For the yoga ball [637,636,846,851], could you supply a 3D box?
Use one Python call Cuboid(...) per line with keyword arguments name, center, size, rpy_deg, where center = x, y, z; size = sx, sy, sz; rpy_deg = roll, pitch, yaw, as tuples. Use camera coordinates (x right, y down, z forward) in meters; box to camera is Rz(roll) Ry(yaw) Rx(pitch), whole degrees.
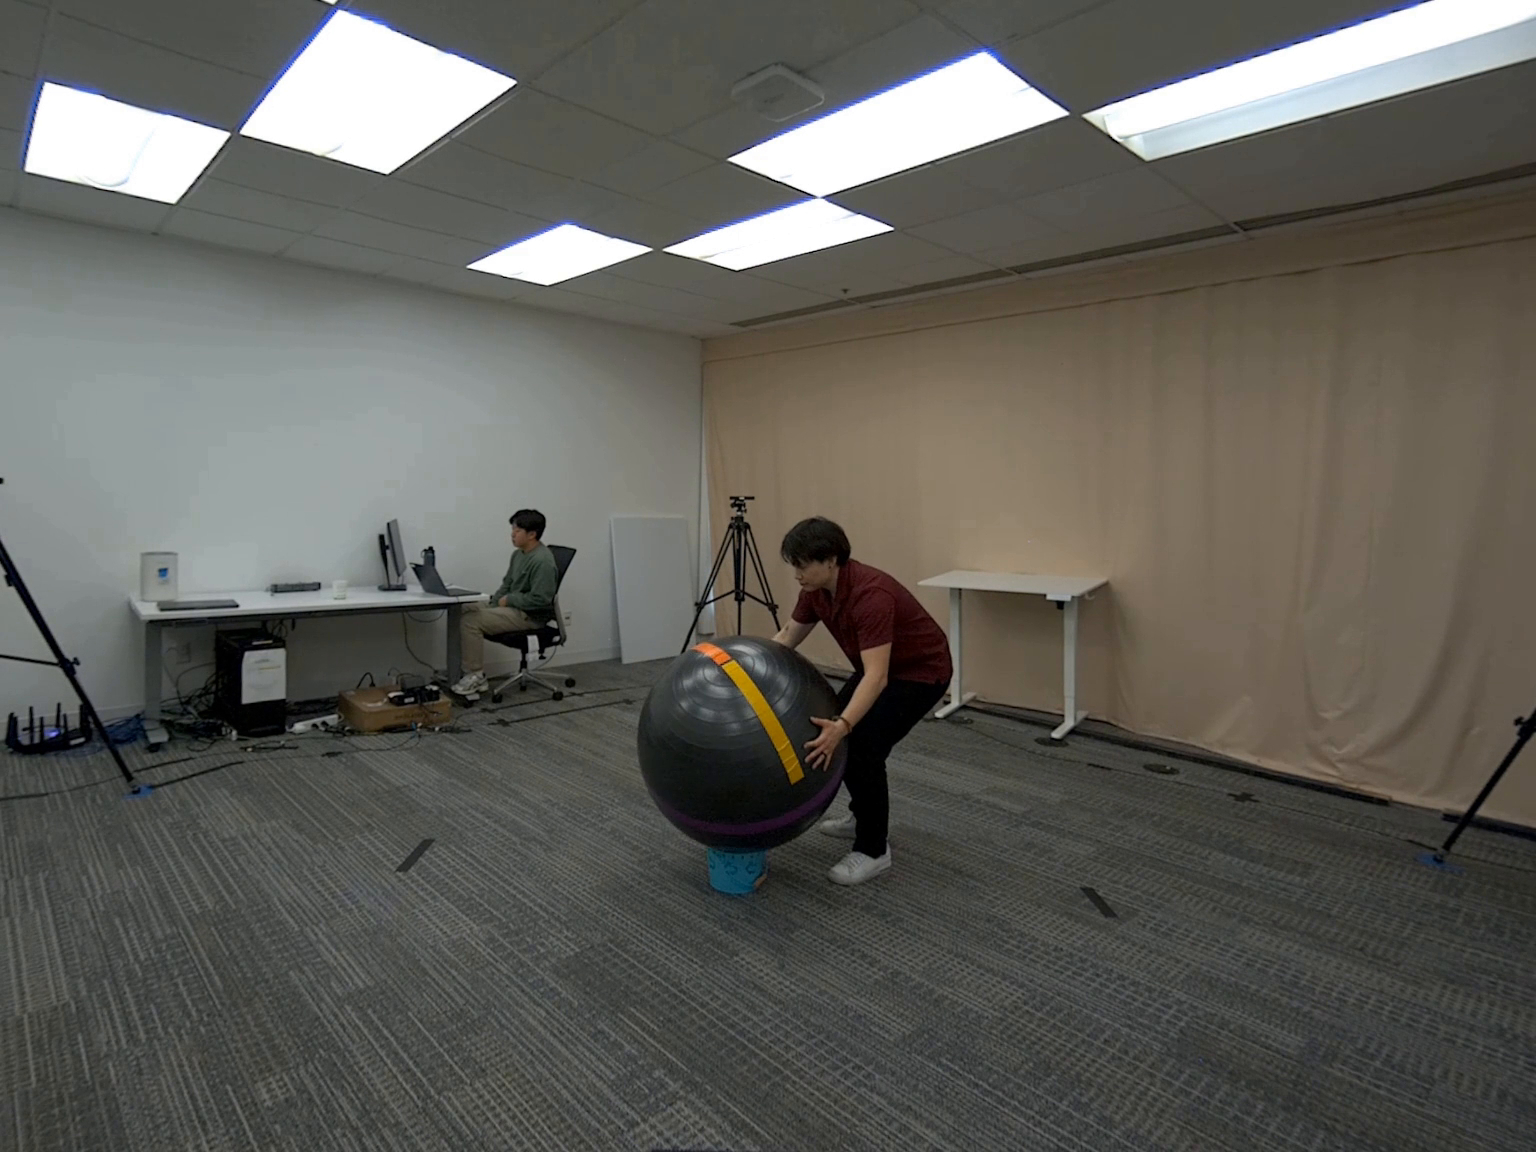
Cuboid(name="yoga ball", center=(-0.104, 0.596, 3.034), size=(0.757, 0.756, 0.761), rpy_deg=(1, 4, -1))
